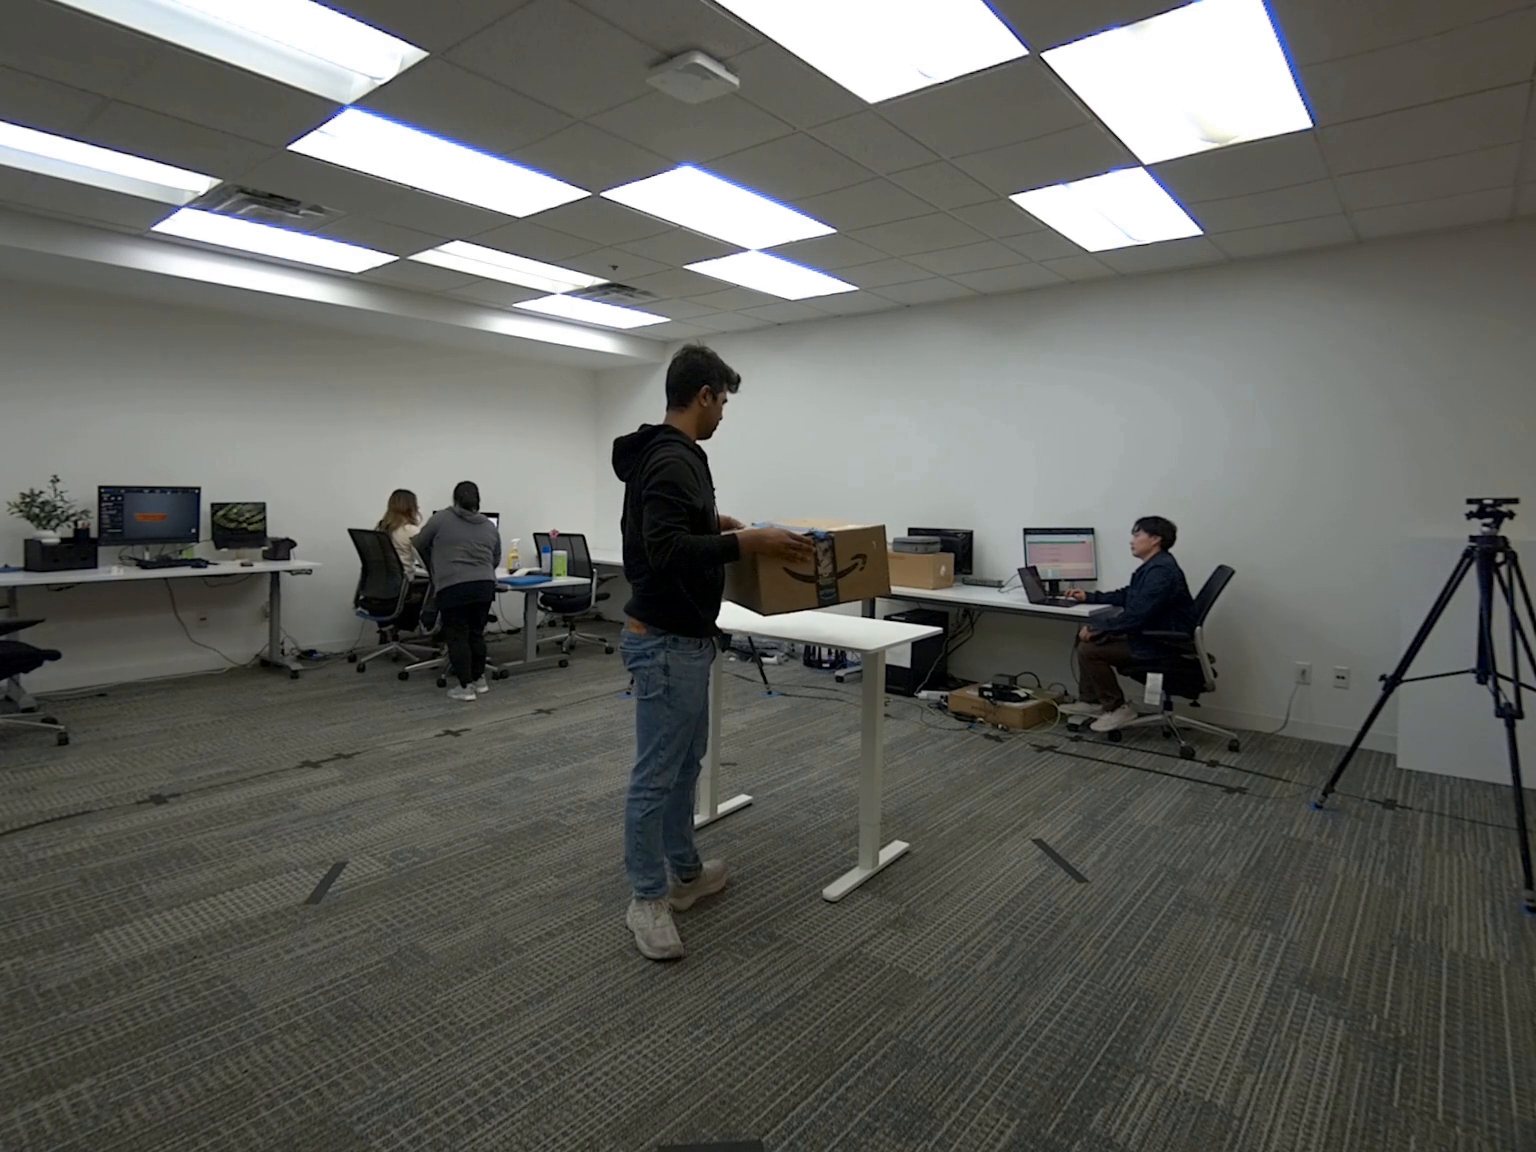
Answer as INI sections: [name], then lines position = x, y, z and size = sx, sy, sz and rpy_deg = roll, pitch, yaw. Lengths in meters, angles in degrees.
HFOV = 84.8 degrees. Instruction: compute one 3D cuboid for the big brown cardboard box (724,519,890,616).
[big brown cardboard box]
position = 0.057, -0.047, 2.756
size = 0.411, 0.232, 0.601
rpy_deg = -8, 7, -17
